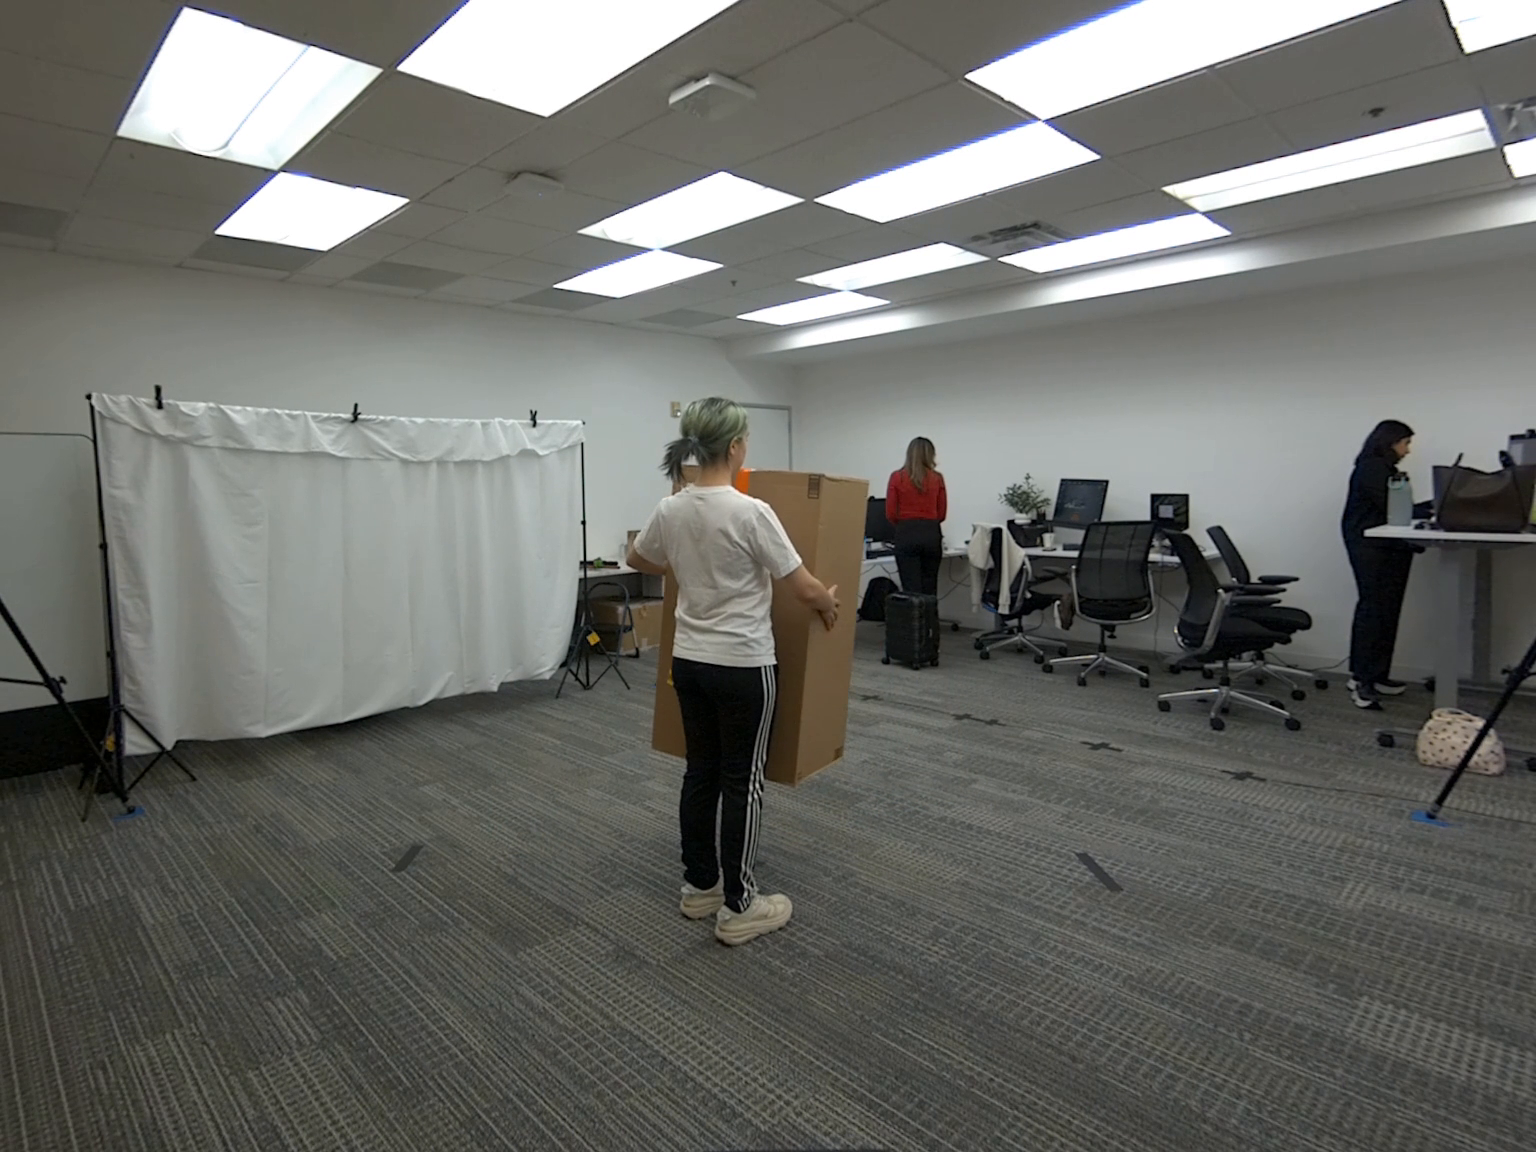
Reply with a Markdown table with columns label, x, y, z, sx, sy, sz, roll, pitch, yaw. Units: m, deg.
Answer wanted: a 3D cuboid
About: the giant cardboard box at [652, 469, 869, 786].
| label | x | y | z | sx | sy | sz | roll | pitch | yaw |
| --- | --- | --- | --- | --- | --- | --- | --- | --- | --- |
| giant cardboard box | -0.024 | 0.140 | 3.063 | 0.594 | 1.023 | 0.415 | 6 | 3 | 30 |
